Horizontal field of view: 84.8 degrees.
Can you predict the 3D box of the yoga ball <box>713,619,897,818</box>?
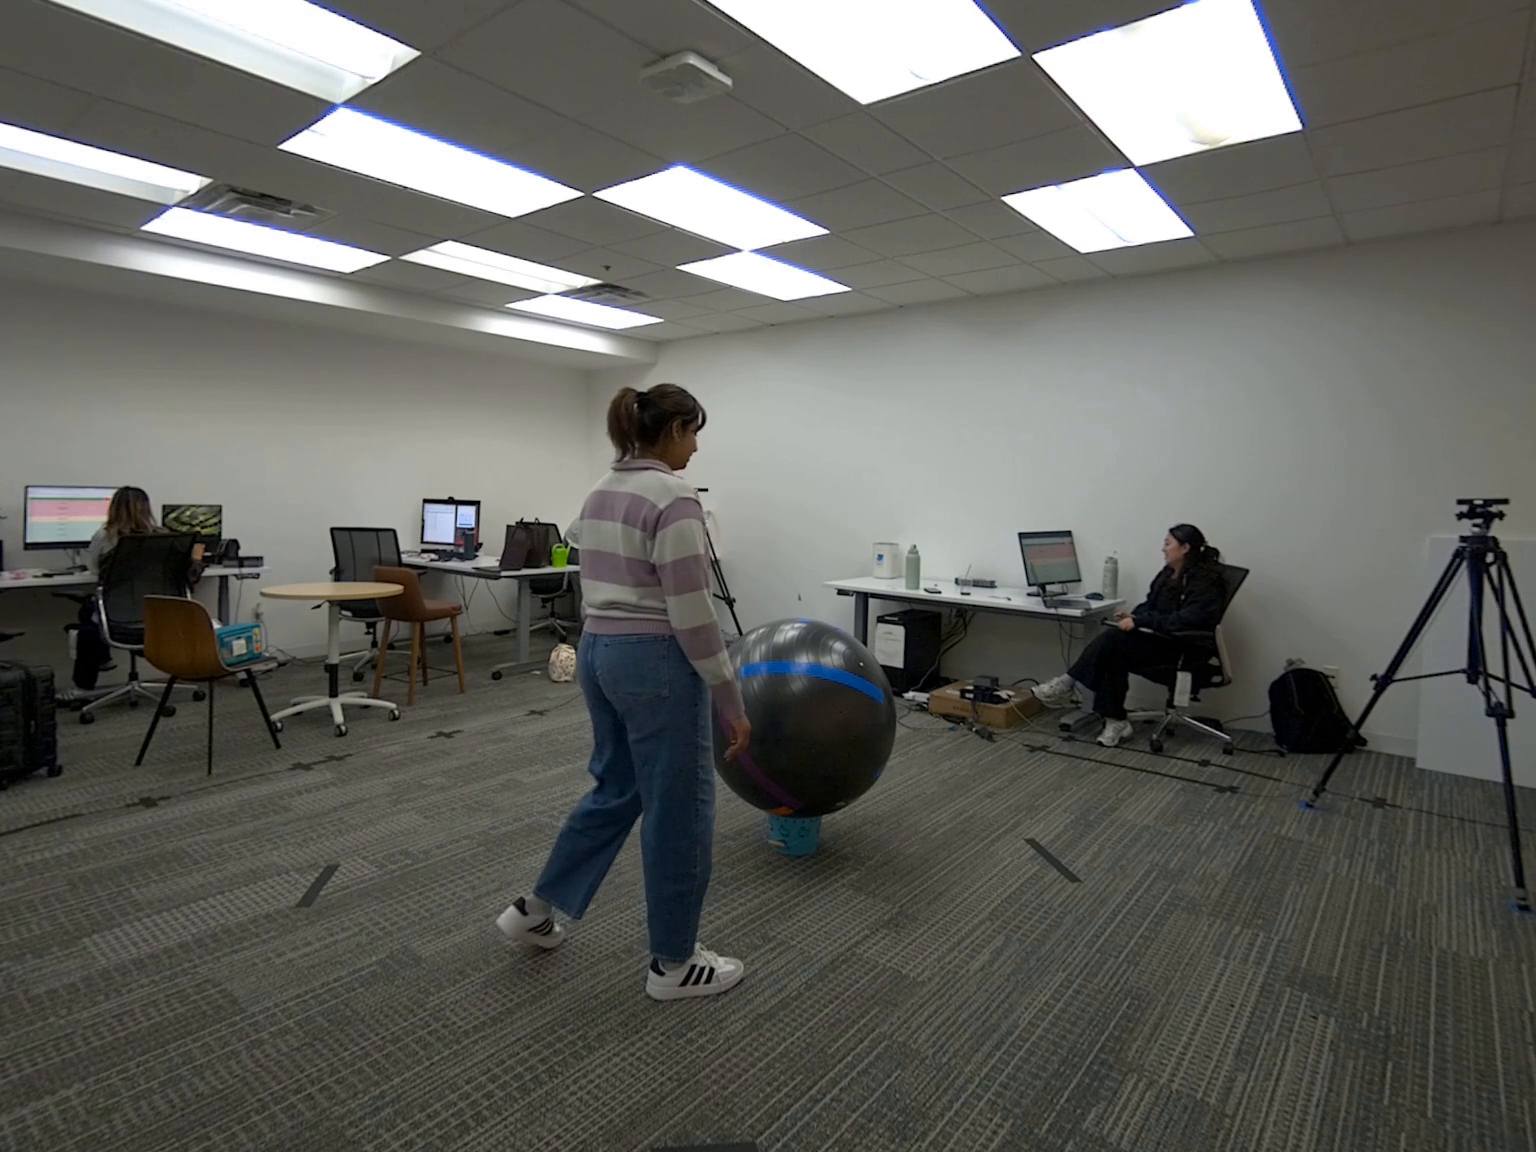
[{"bbox_3d":[0.118,0.549,3.321,0.757,0.755,0.762,1,4,-2],"label":"yoga ball"}]
